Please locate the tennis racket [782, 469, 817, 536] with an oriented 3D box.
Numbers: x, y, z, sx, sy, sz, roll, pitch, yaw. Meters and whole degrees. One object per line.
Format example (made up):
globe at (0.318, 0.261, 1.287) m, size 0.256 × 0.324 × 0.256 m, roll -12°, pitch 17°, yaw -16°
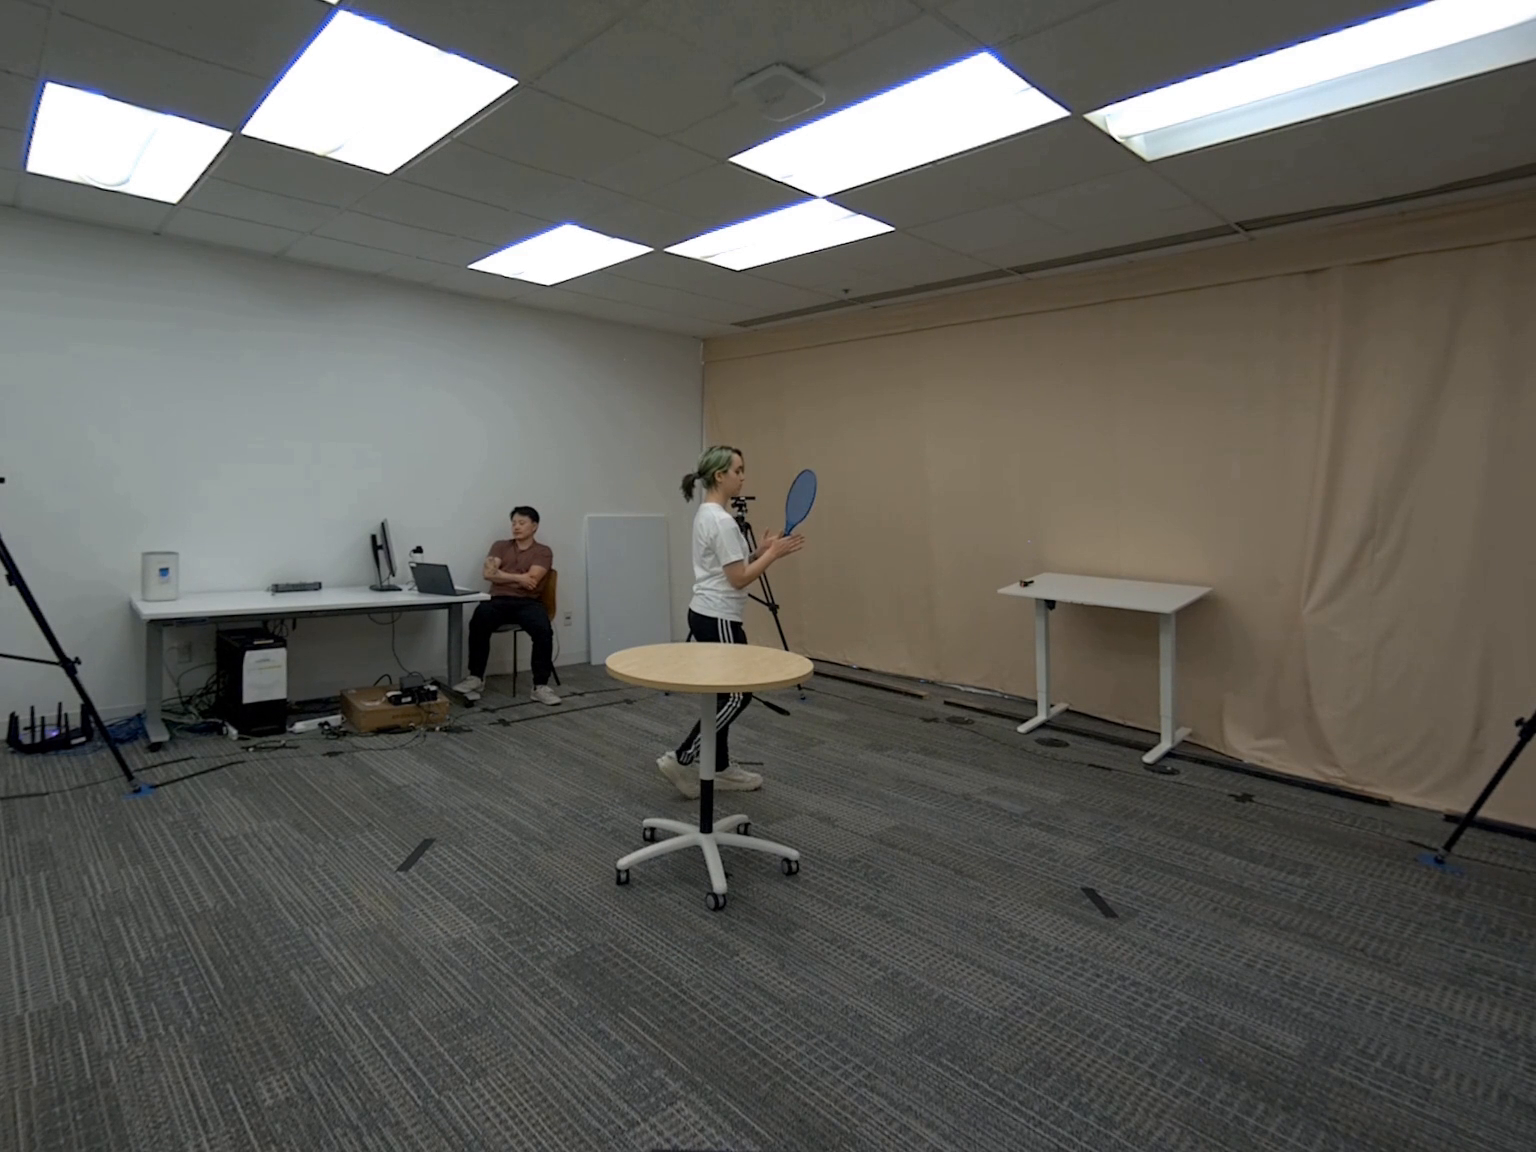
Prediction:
tennis racket at (0.109, -0.288, 3.905) m, size 0.031 × 0.431 × 0.219 m, roll 13°, pitch 10°, yaw -27°
